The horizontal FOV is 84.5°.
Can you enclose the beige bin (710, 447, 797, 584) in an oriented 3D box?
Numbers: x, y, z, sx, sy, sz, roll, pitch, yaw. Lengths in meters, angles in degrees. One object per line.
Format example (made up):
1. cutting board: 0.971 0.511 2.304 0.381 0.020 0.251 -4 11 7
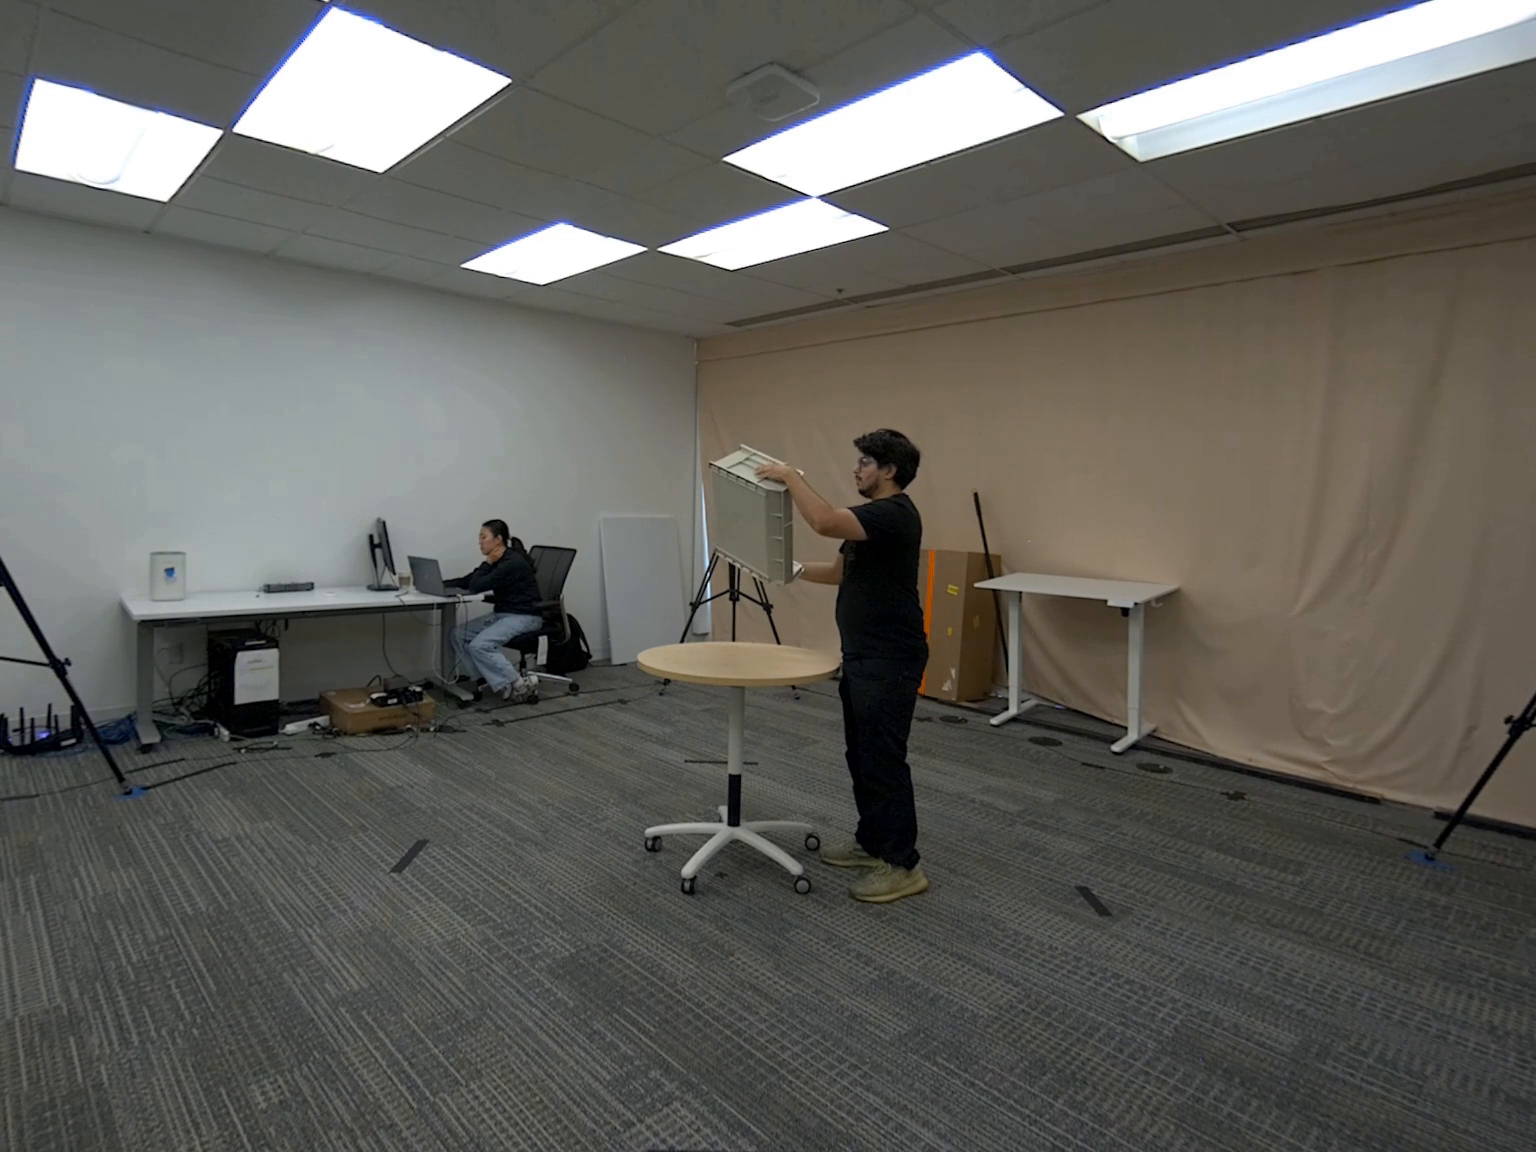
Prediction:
1. beige bin: -0.037 -0.224 3.203 0.187 0.413 0.389 -29 42 -33
